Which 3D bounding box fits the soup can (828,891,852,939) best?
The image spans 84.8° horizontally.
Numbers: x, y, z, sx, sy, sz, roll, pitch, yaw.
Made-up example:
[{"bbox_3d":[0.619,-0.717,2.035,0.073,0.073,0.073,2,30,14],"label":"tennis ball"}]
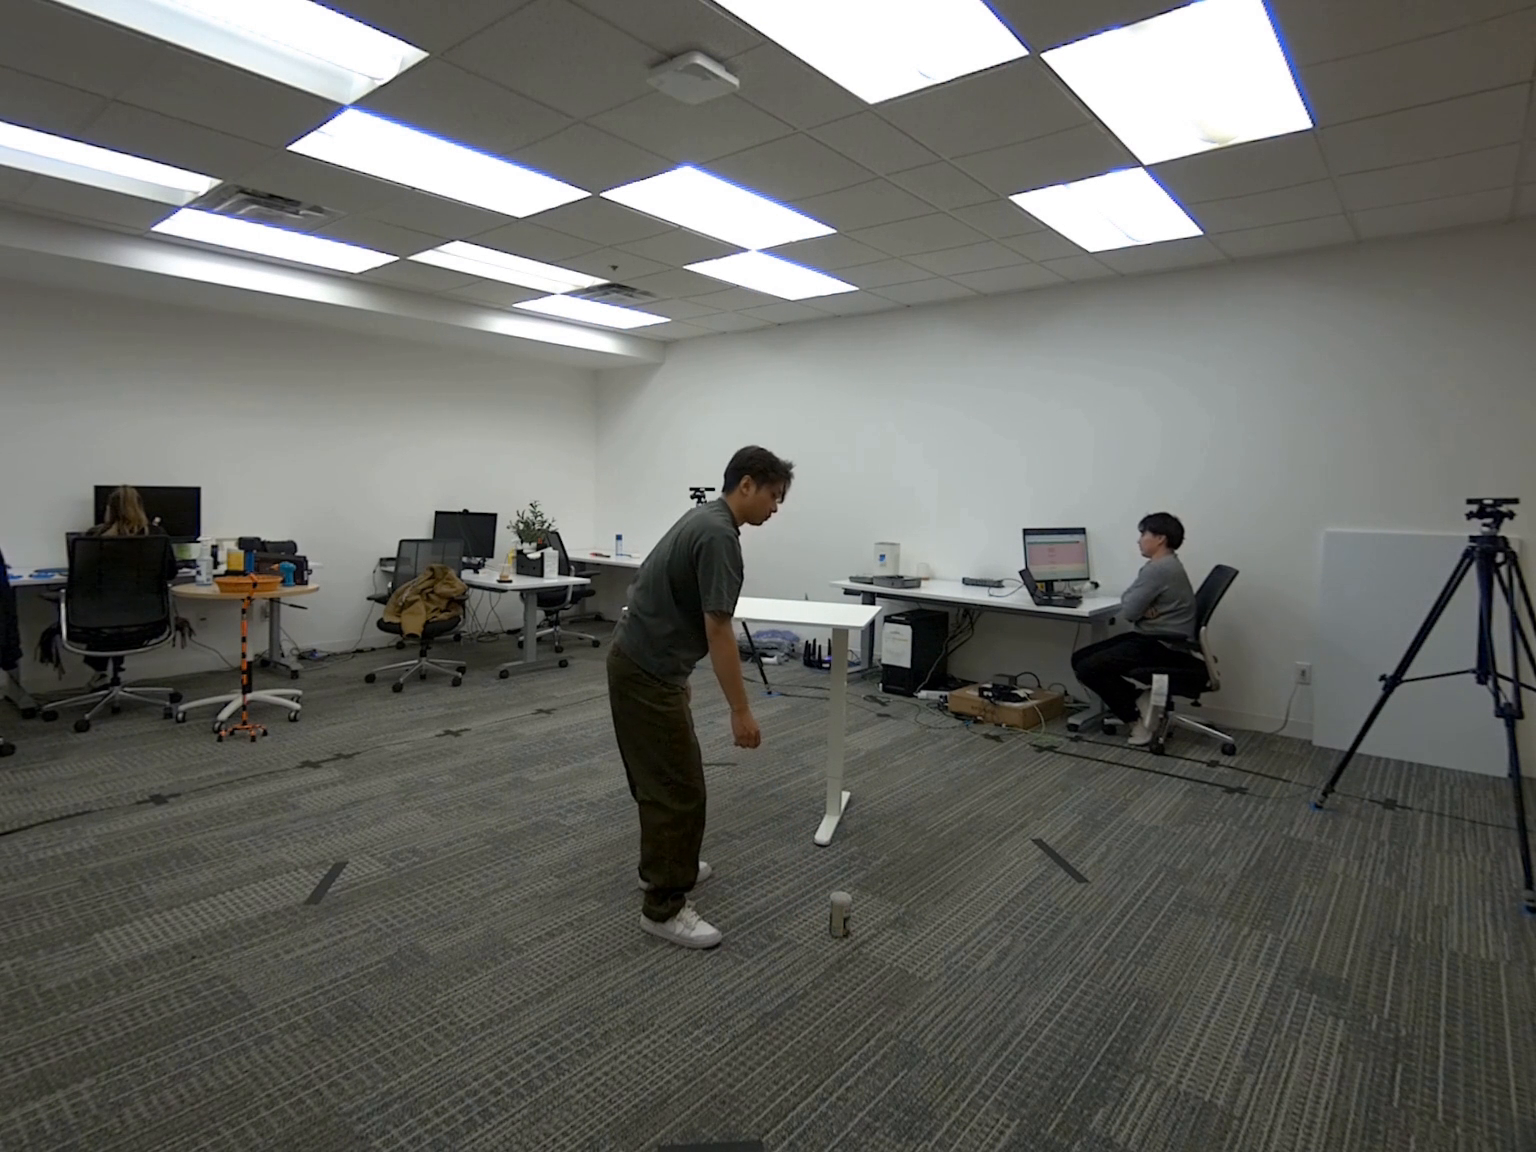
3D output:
[{"bbox_3d":[0.219,1.069,2.660,0.067,0.121,0.067,5,6,-2],"label":"soup can"}]
